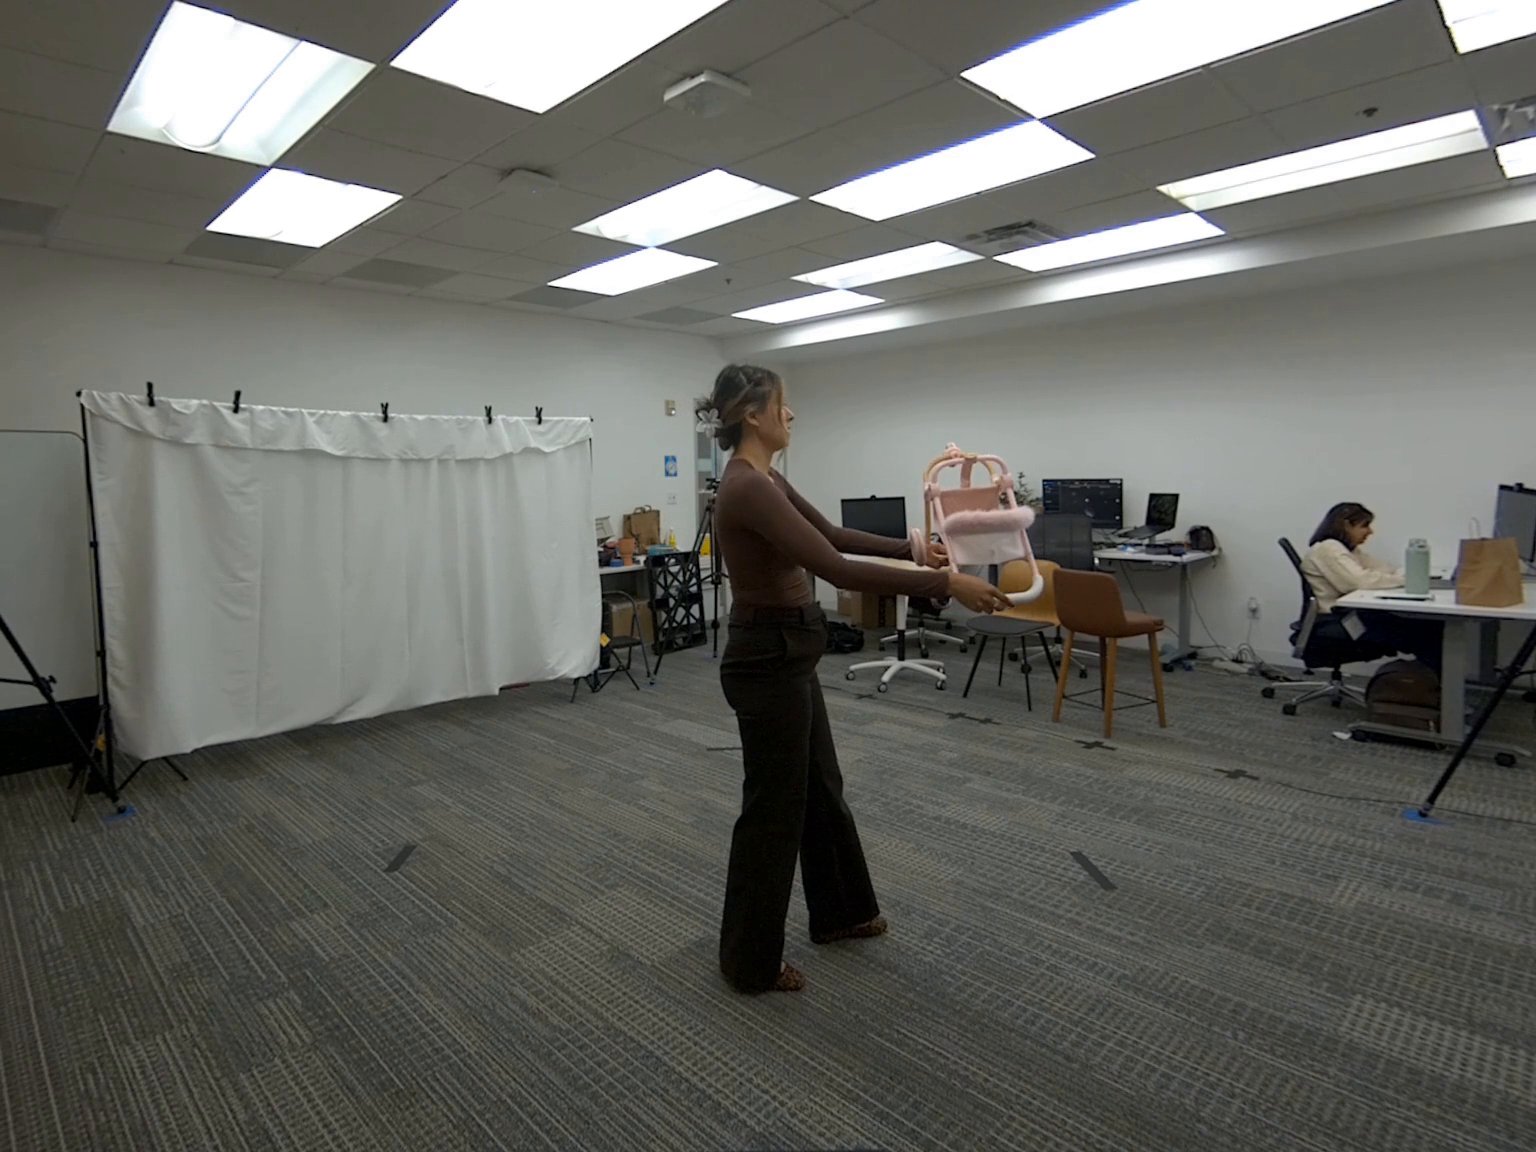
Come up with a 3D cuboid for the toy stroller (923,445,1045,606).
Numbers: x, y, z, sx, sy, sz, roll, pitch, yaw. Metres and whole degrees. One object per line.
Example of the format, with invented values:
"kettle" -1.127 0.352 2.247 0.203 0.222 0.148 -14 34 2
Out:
"toy stroller" 0.545 -0.154 2.250 0.282 0.337 0.540 -2 14 2
